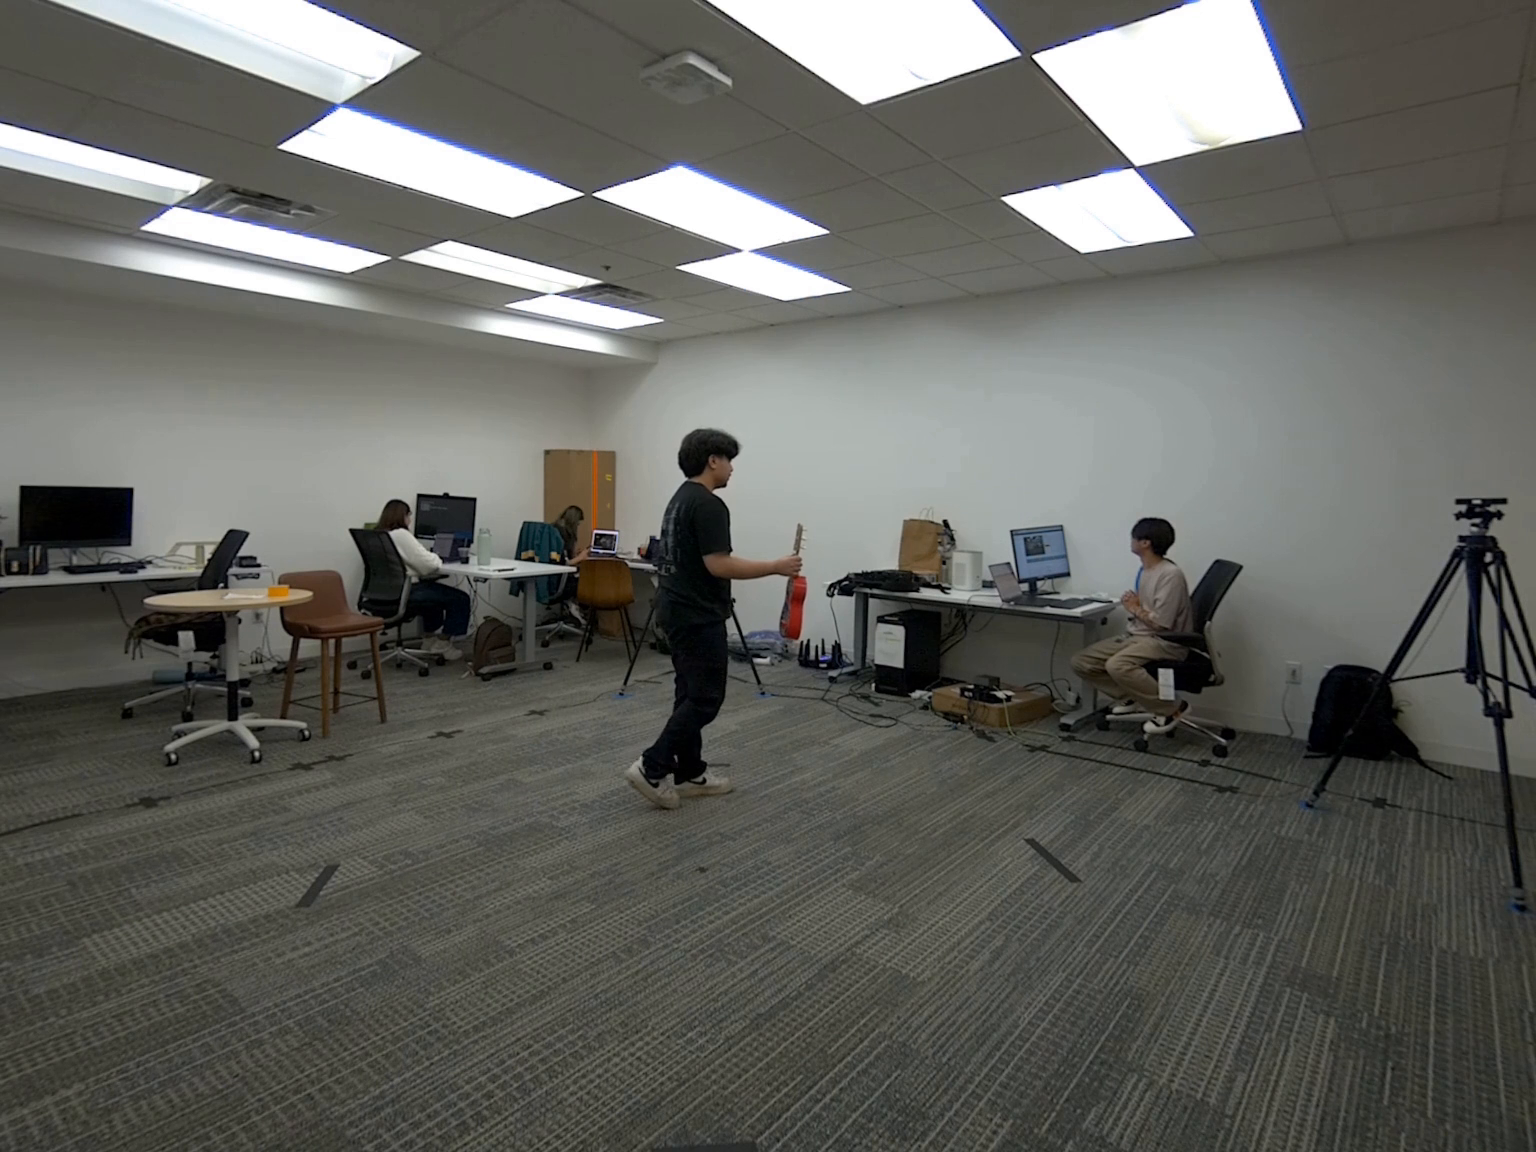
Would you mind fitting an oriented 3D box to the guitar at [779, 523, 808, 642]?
[{"bbox_3d":[0.115,0.031,3.644,0.070,0.492,0.197,8,14,-8],"label":"guitar"}]
